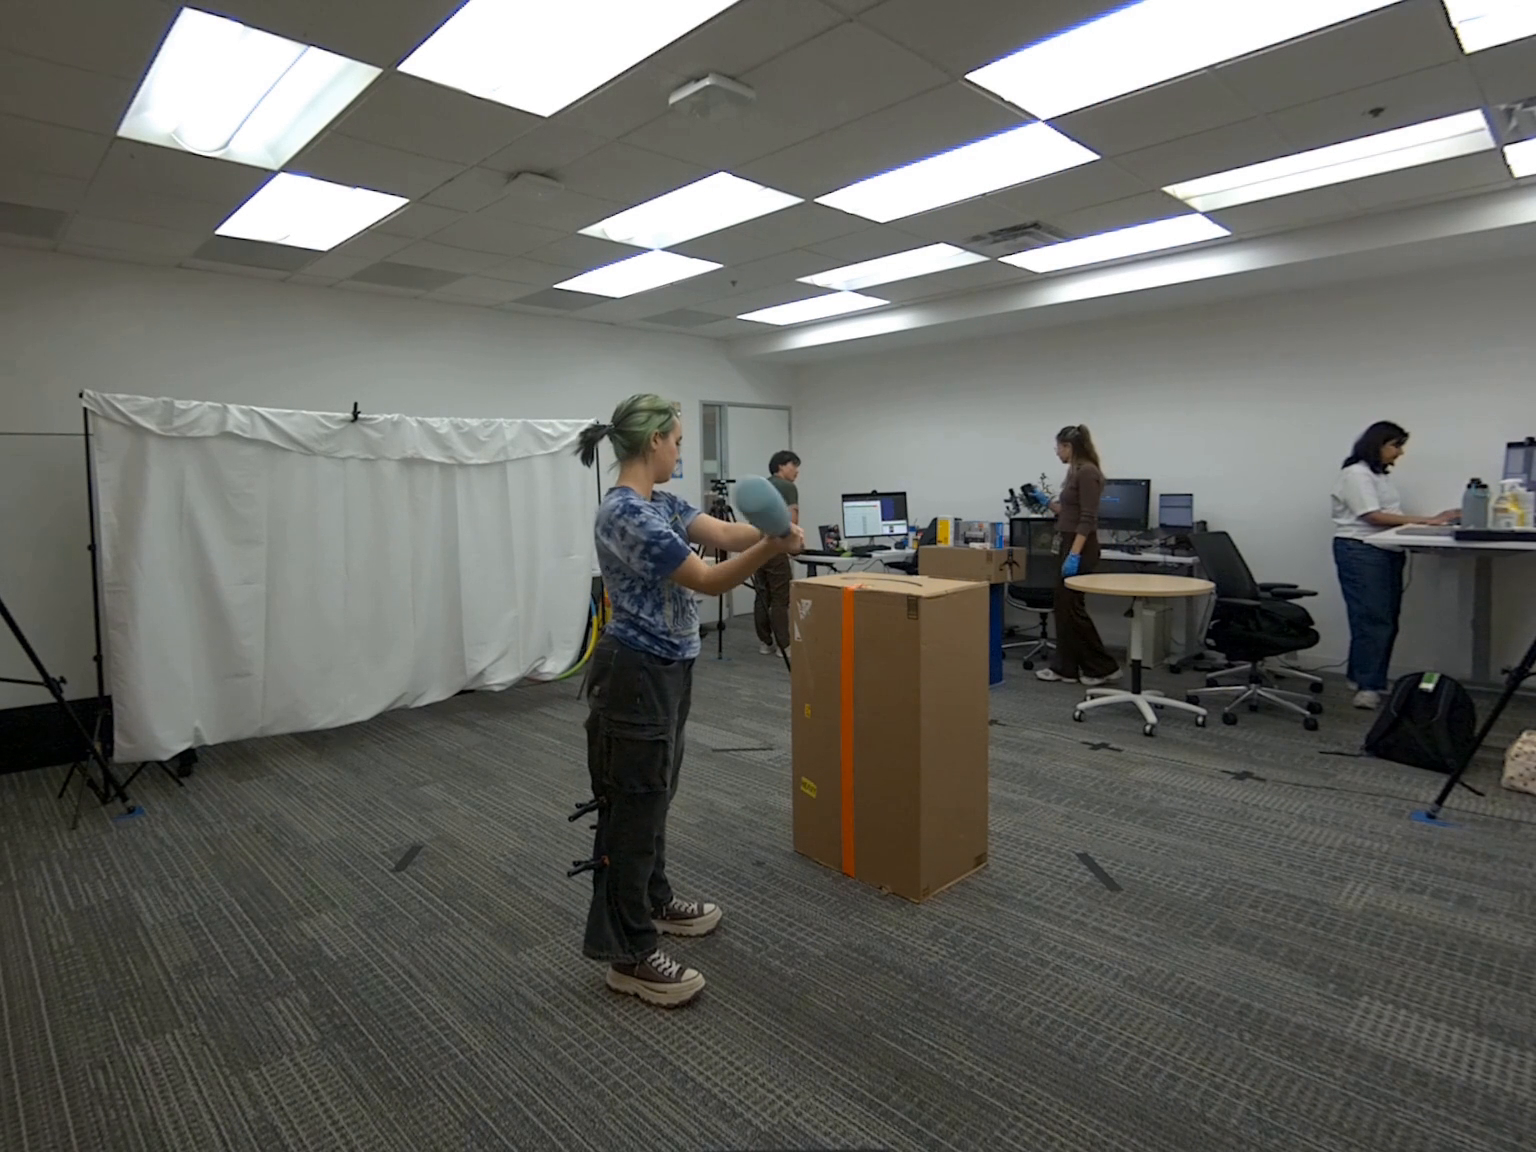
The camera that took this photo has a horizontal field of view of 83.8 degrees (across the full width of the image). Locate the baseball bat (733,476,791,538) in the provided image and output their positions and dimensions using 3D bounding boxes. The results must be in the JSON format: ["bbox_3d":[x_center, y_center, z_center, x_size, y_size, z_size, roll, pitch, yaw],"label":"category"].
[{"bbox_3d":[0.028,-0.120,1.994,0.090,0.090,0.530,0,-10,13],"label":"baseball bat"}]
